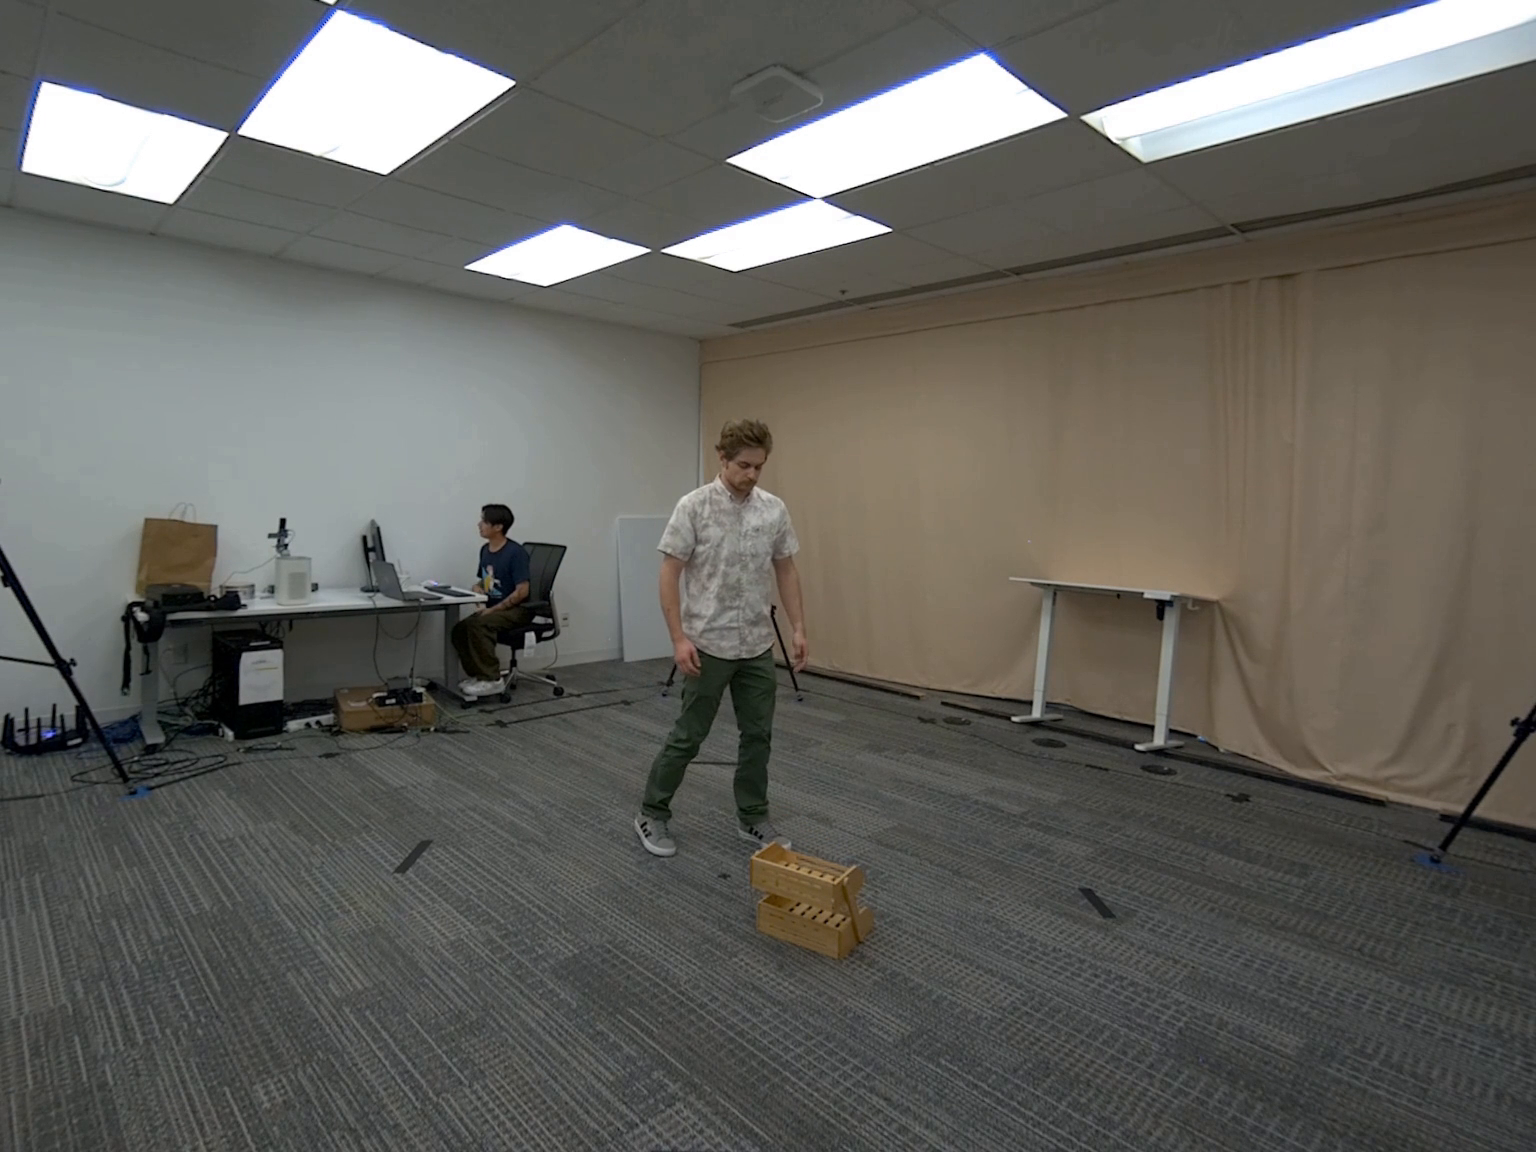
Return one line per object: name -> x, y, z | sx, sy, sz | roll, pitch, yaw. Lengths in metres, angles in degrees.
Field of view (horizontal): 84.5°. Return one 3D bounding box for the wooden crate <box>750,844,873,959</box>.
wooden crate -> 0.144, 1.017, 2.704 | 0.332, 0.272, 0.296 | 4, 6, 32
